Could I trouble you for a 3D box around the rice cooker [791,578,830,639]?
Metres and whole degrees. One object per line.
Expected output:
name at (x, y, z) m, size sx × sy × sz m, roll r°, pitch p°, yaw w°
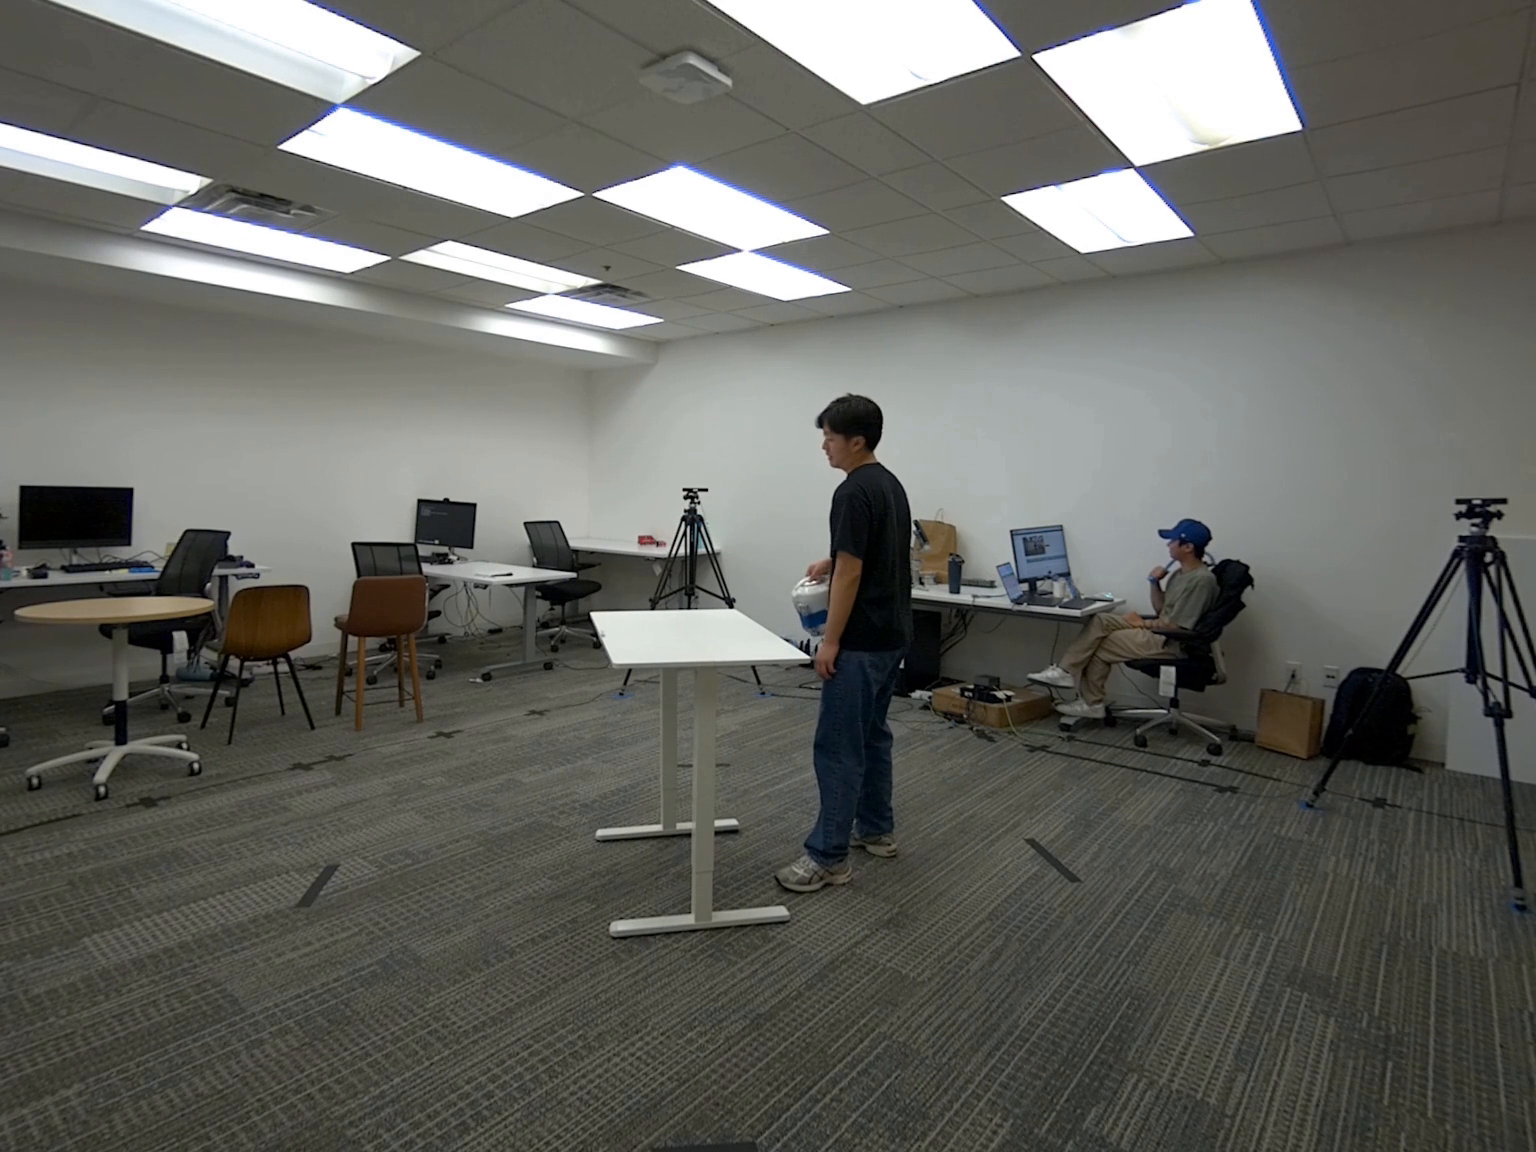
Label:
rice cooker at (0.195, 0.096, 3.499) m, size 0.220 × 0.229 × 0.222 m, roll -15°, pitch 16°, yaw -6°
